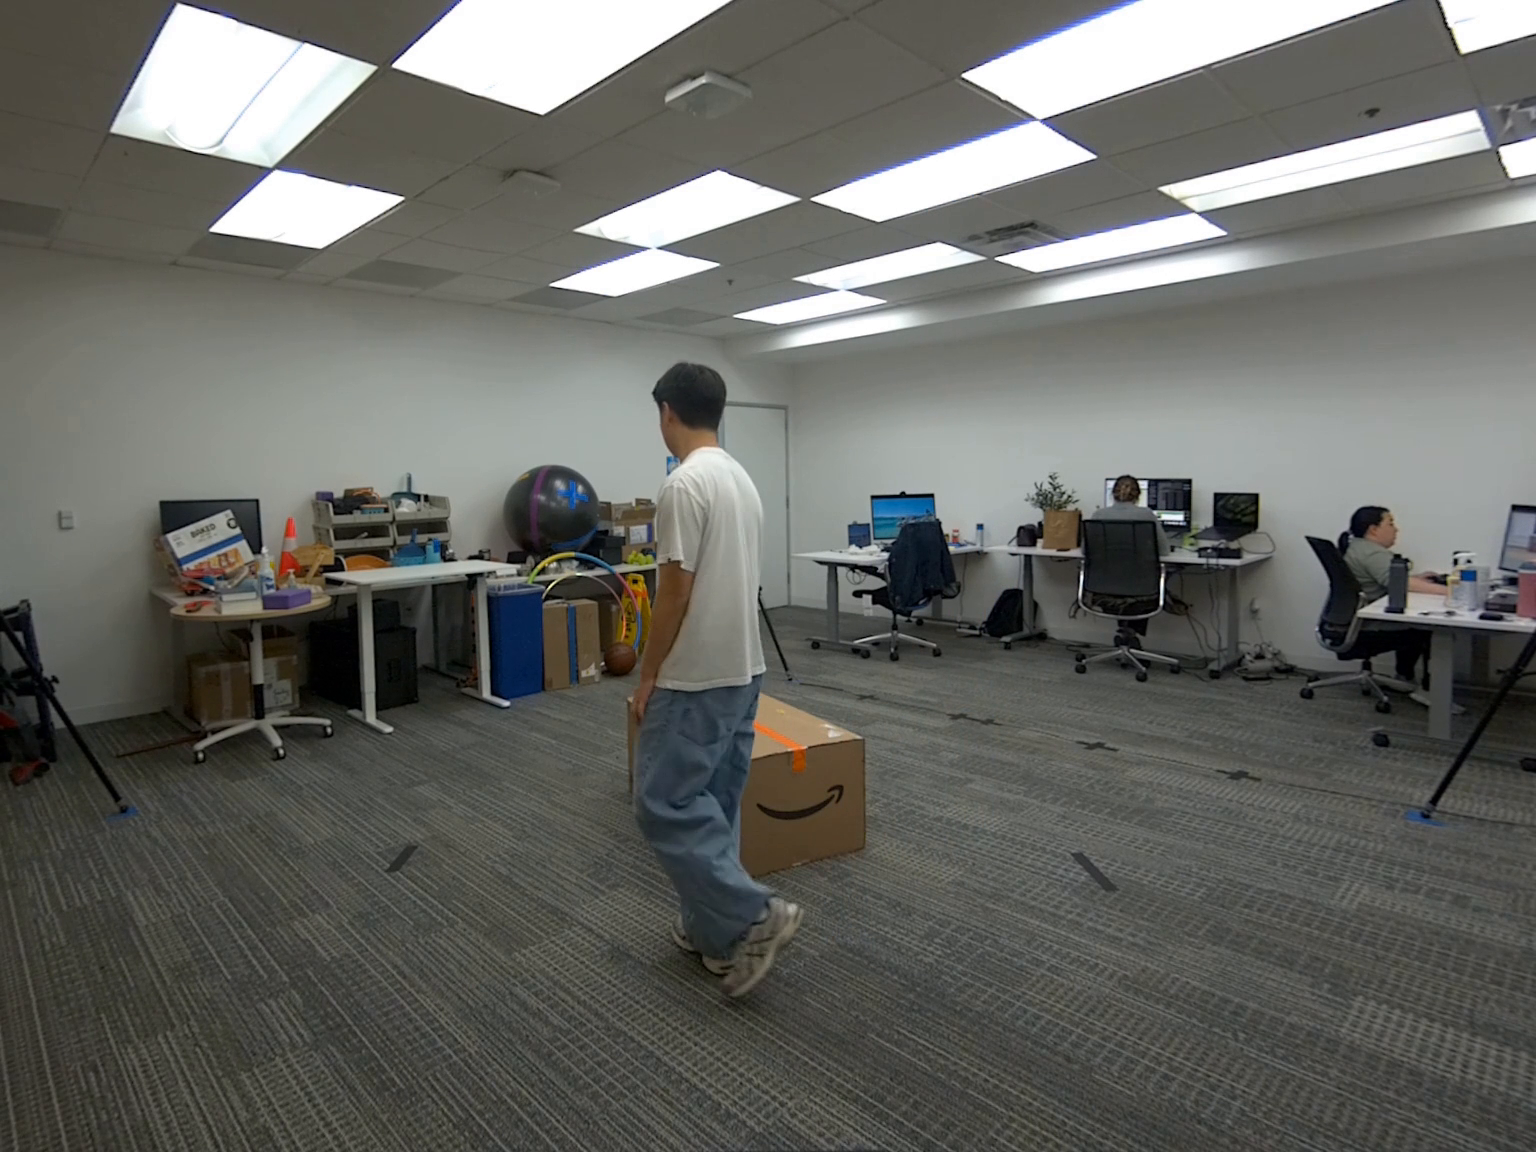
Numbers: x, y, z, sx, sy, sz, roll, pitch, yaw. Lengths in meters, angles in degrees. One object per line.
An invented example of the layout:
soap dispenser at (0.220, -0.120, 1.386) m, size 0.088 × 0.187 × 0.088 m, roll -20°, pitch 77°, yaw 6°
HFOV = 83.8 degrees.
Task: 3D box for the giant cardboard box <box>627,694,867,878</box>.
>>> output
giant cardboard box at (-0.131, 0.784, 3.526) m, size 0.564 × 0.424 × 1.053 m, roll -3°, pitch 6°, yaw -28°
